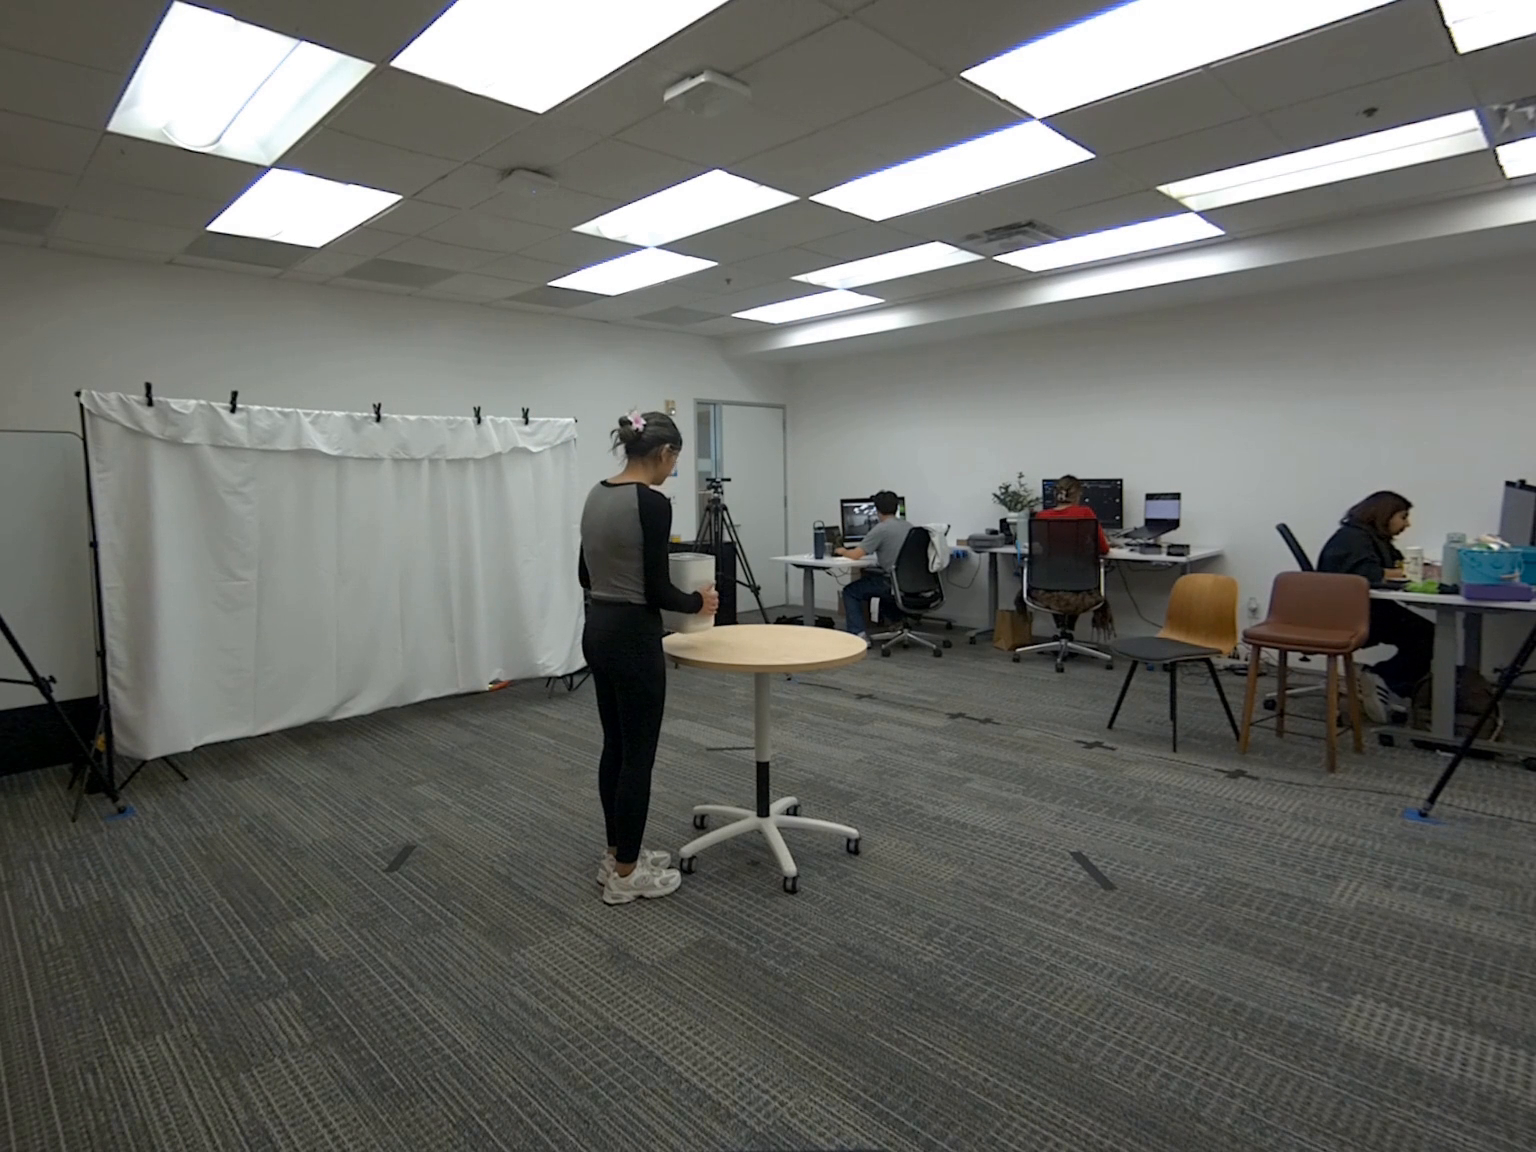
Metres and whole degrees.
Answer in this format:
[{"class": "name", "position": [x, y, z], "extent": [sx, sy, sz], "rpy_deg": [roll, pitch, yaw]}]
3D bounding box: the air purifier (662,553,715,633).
[{"class": "air purifier", "position": [-0.286, 0.061, 3.047], "extent": [0.166, 0.264, 0.177], "rpy_deg": [-4, 8, -45]}]
